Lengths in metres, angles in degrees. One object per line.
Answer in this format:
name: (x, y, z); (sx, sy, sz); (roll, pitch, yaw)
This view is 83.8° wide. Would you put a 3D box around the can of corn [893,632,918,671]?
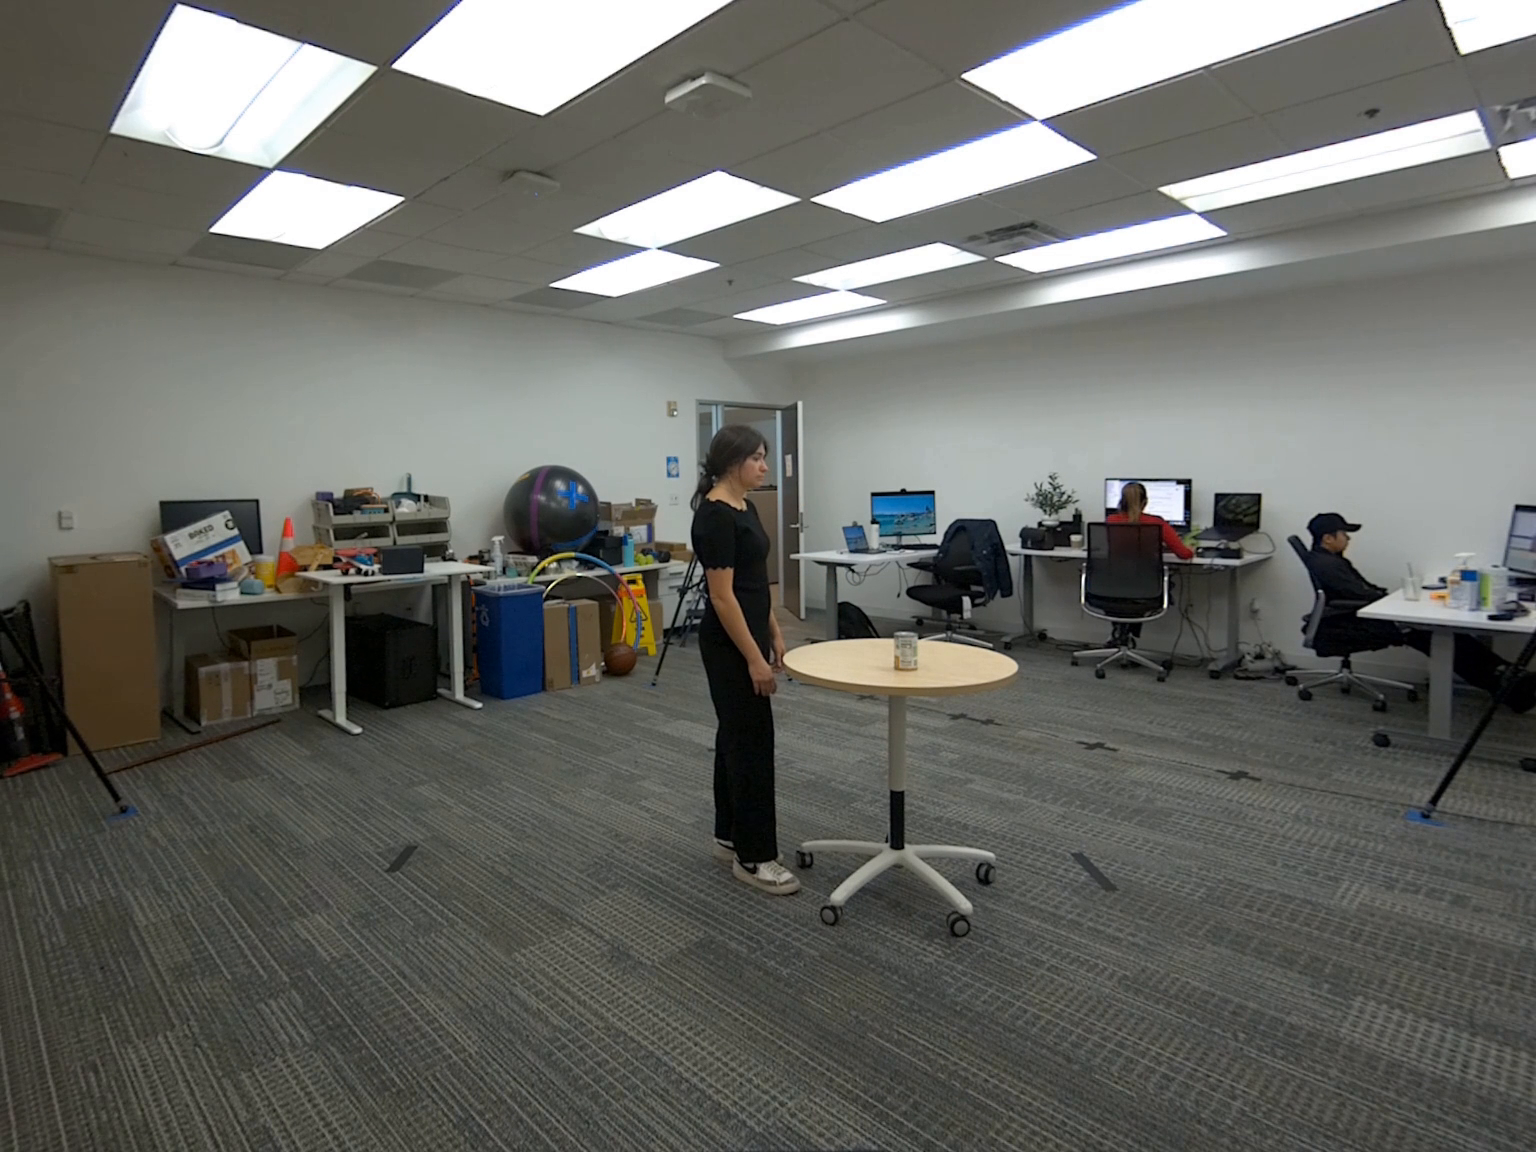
can of corn: (0.448, 0.243, 2.709); (0.074, 0.110, 0.075); (0, 6, -2)
